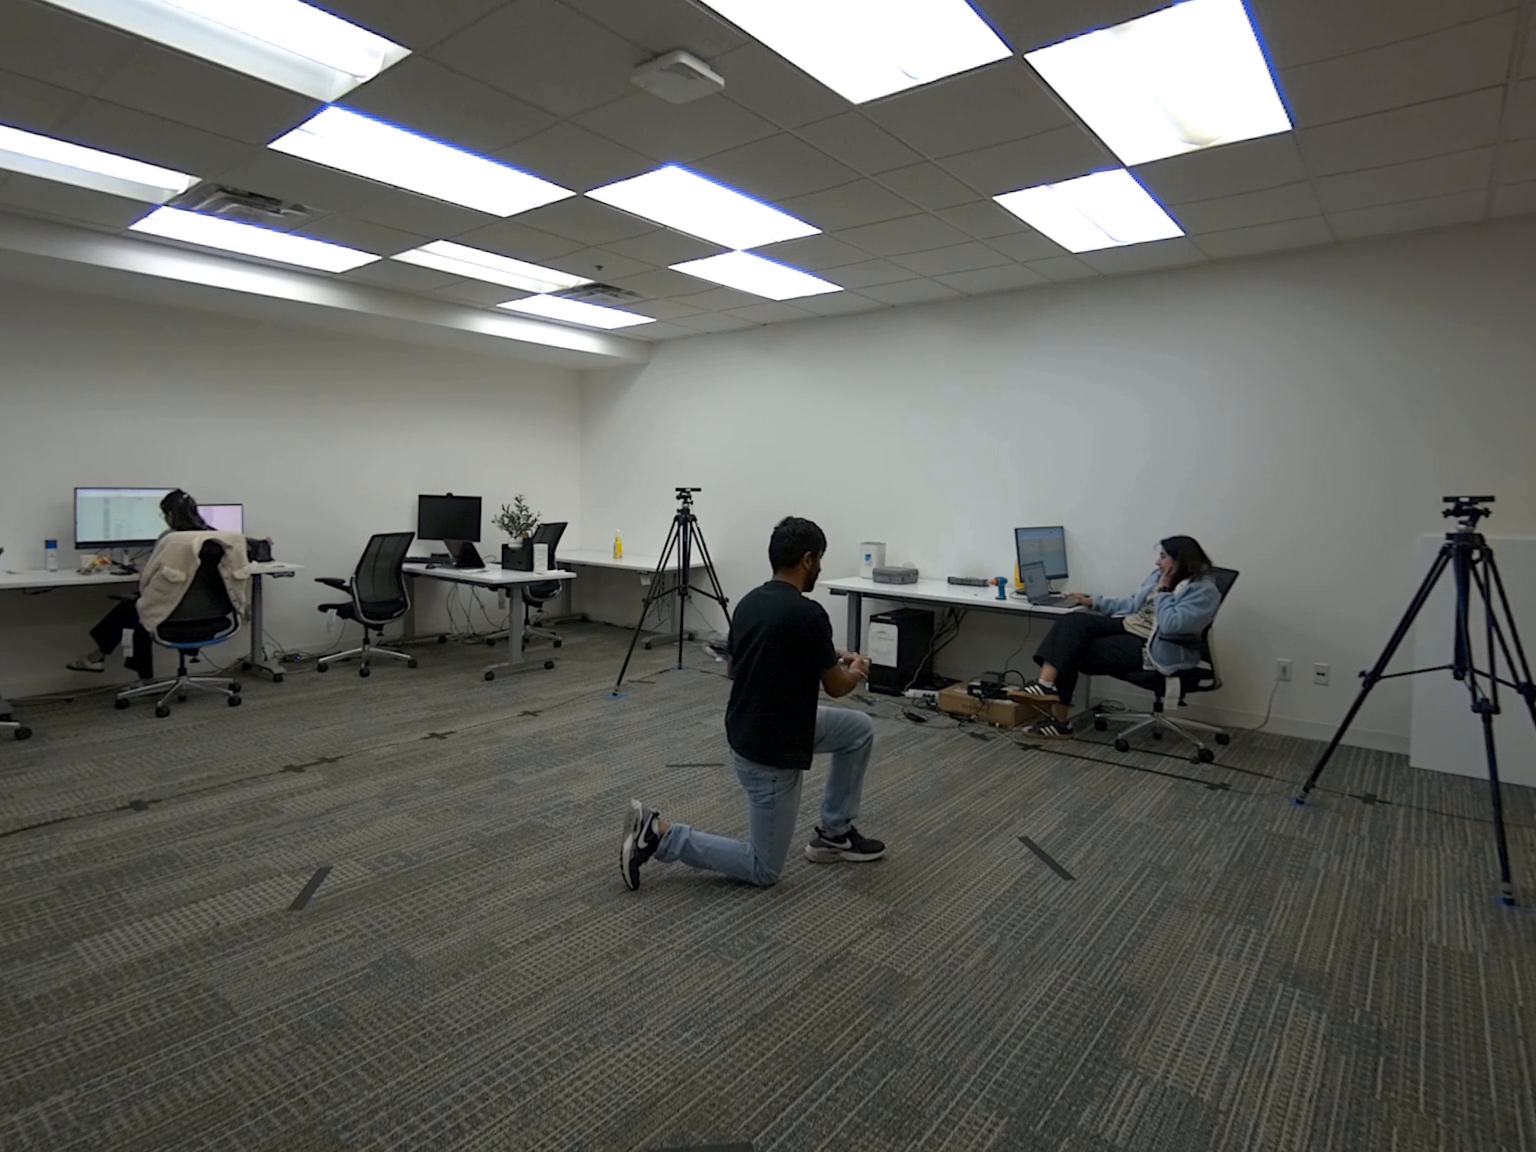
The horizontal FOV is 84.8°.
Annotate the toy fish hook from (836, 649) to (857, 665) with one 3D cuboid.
[{"bbox_3d":[0.238,0.286,3.451,0.525,0.047,0.221,10,31,45],"label":"toy fish hook"}]
